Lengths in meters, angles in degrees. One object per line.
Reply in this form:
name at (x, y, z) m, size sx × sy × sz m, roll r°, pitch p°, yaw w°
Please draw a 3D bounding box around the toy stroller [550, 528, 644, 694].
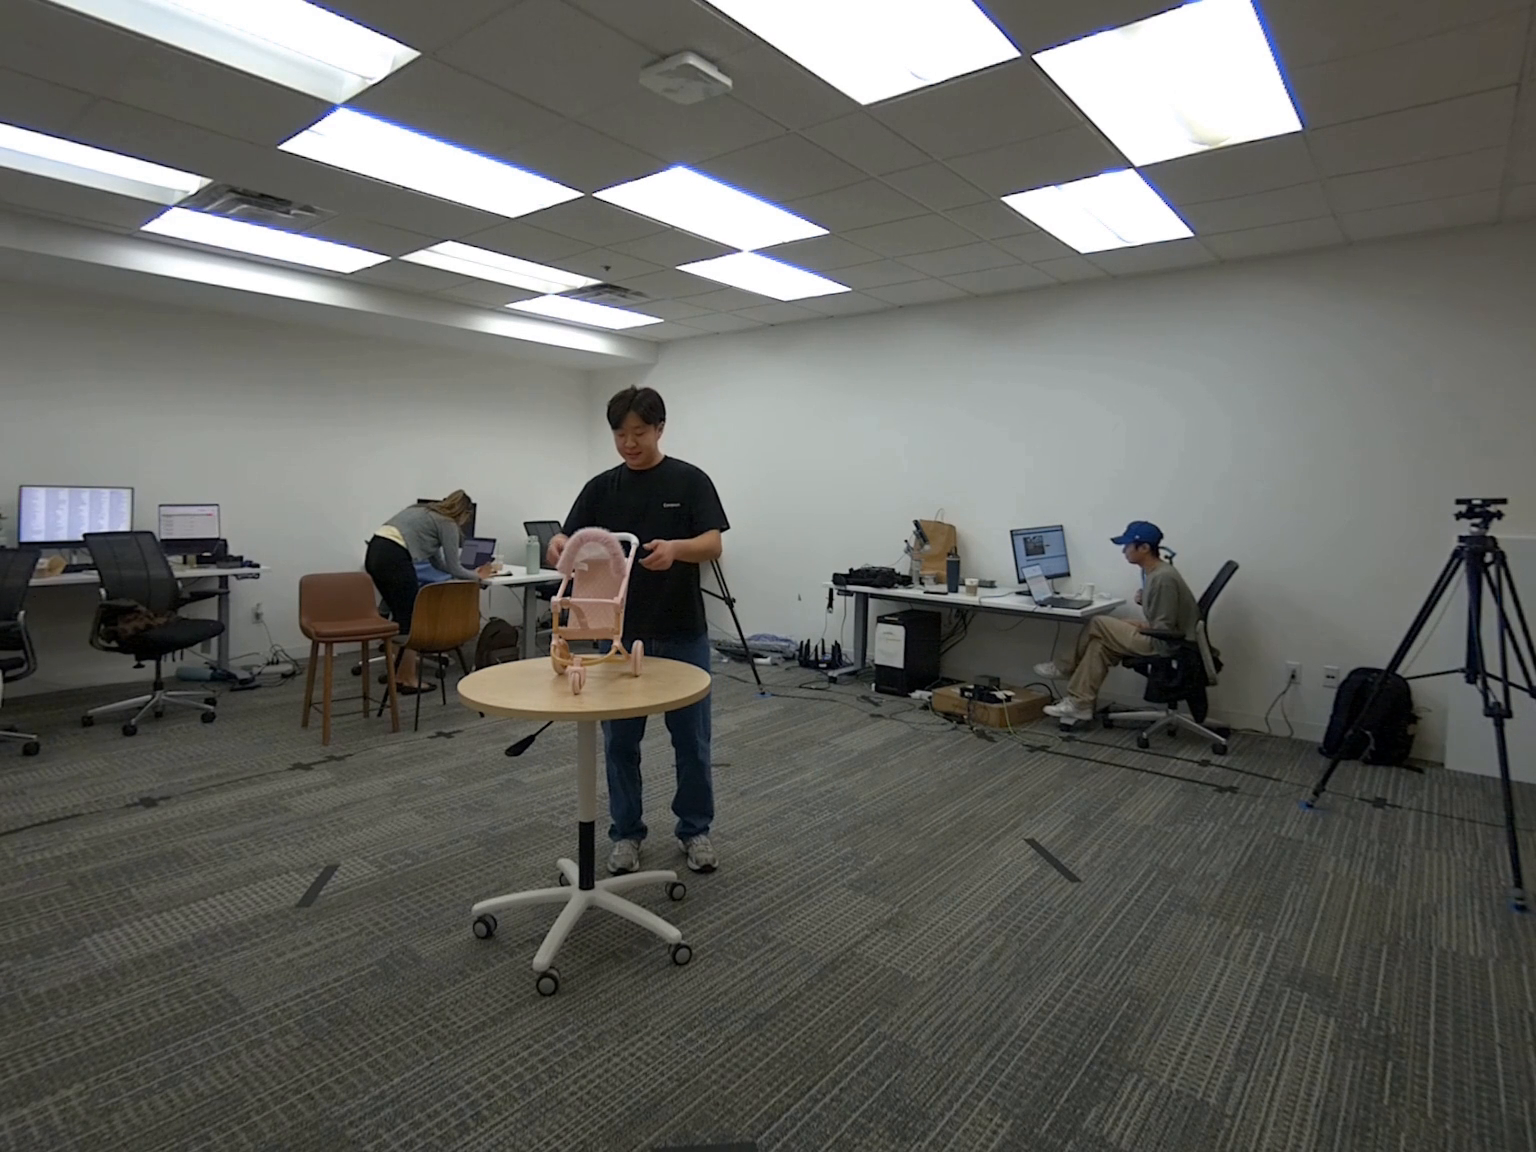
toy stroller at (-0.552, 0.092, 2.607) m, size 0.284 × 0.541 × 0.334 m, roll 0°, pitch -11°, yaw 8°
